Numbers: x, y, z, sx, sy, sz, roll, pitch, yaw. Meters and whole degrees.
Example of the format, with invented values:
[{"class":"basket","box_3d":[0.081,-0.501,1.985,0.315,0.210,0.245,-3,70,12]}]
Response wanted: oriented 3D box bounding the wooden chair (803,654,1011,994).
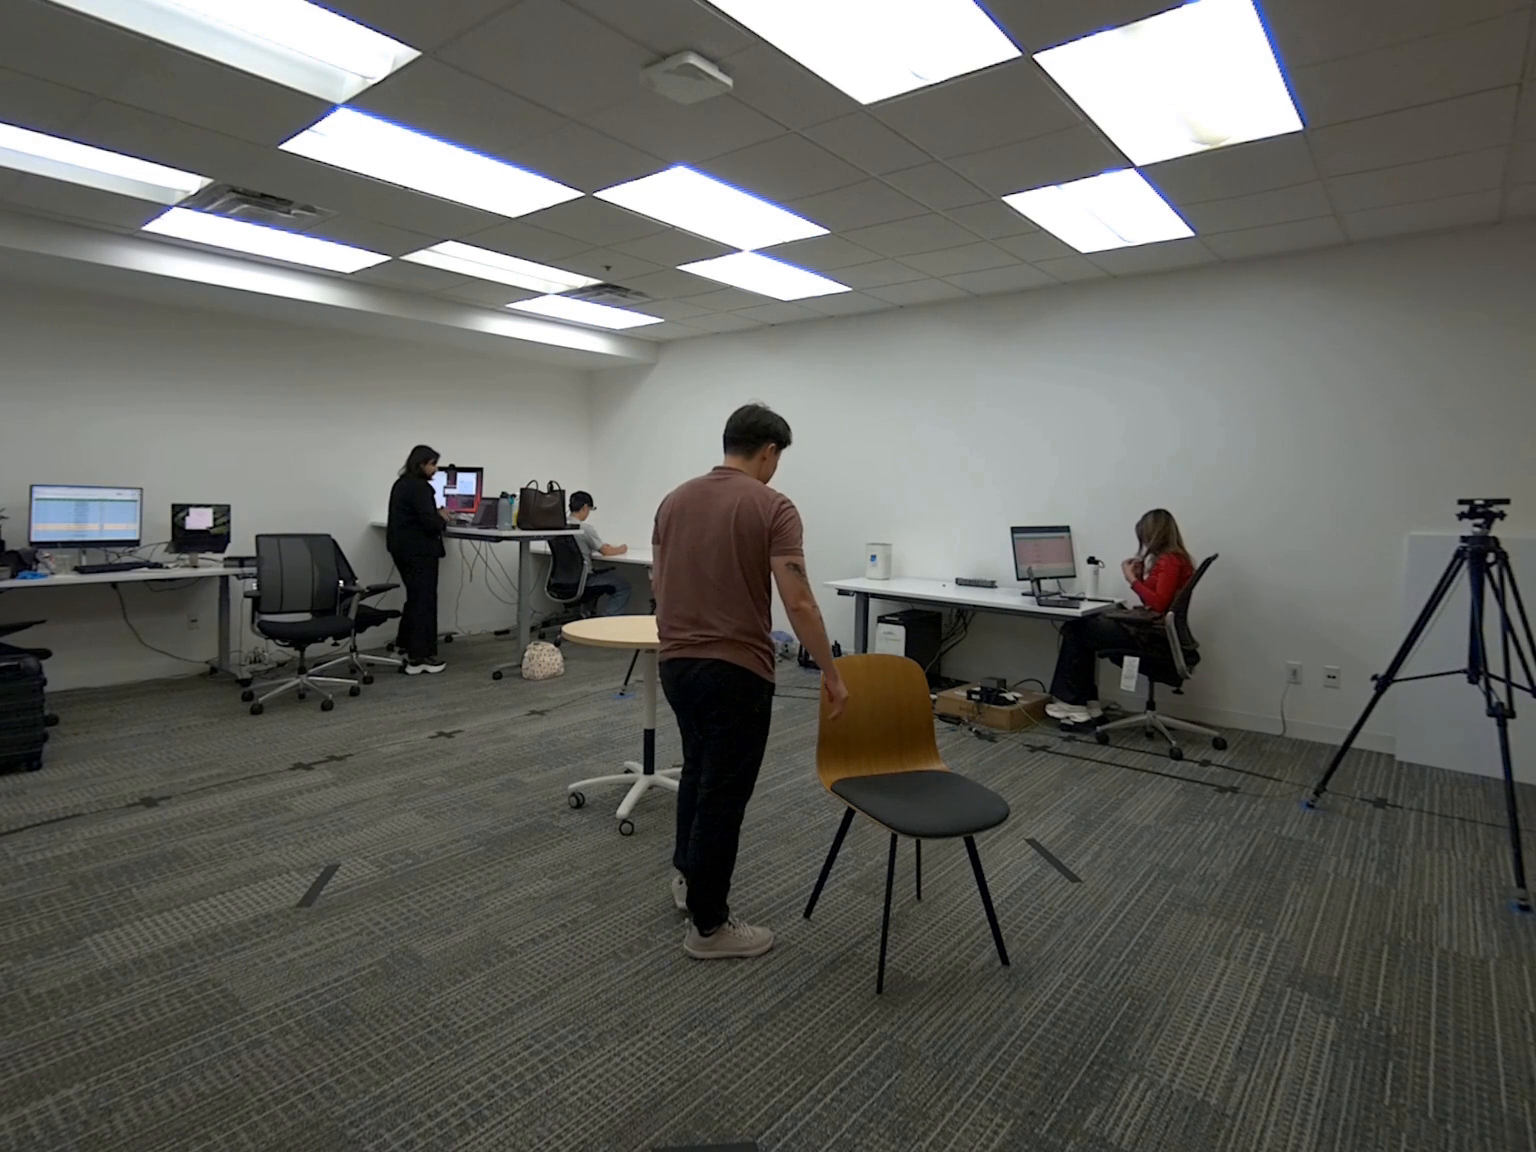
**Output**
[{"class":"wooden chair","box_3d":[0.422,0.709,2.605,0.467,0.878,0.535,0,0,-24]}]
